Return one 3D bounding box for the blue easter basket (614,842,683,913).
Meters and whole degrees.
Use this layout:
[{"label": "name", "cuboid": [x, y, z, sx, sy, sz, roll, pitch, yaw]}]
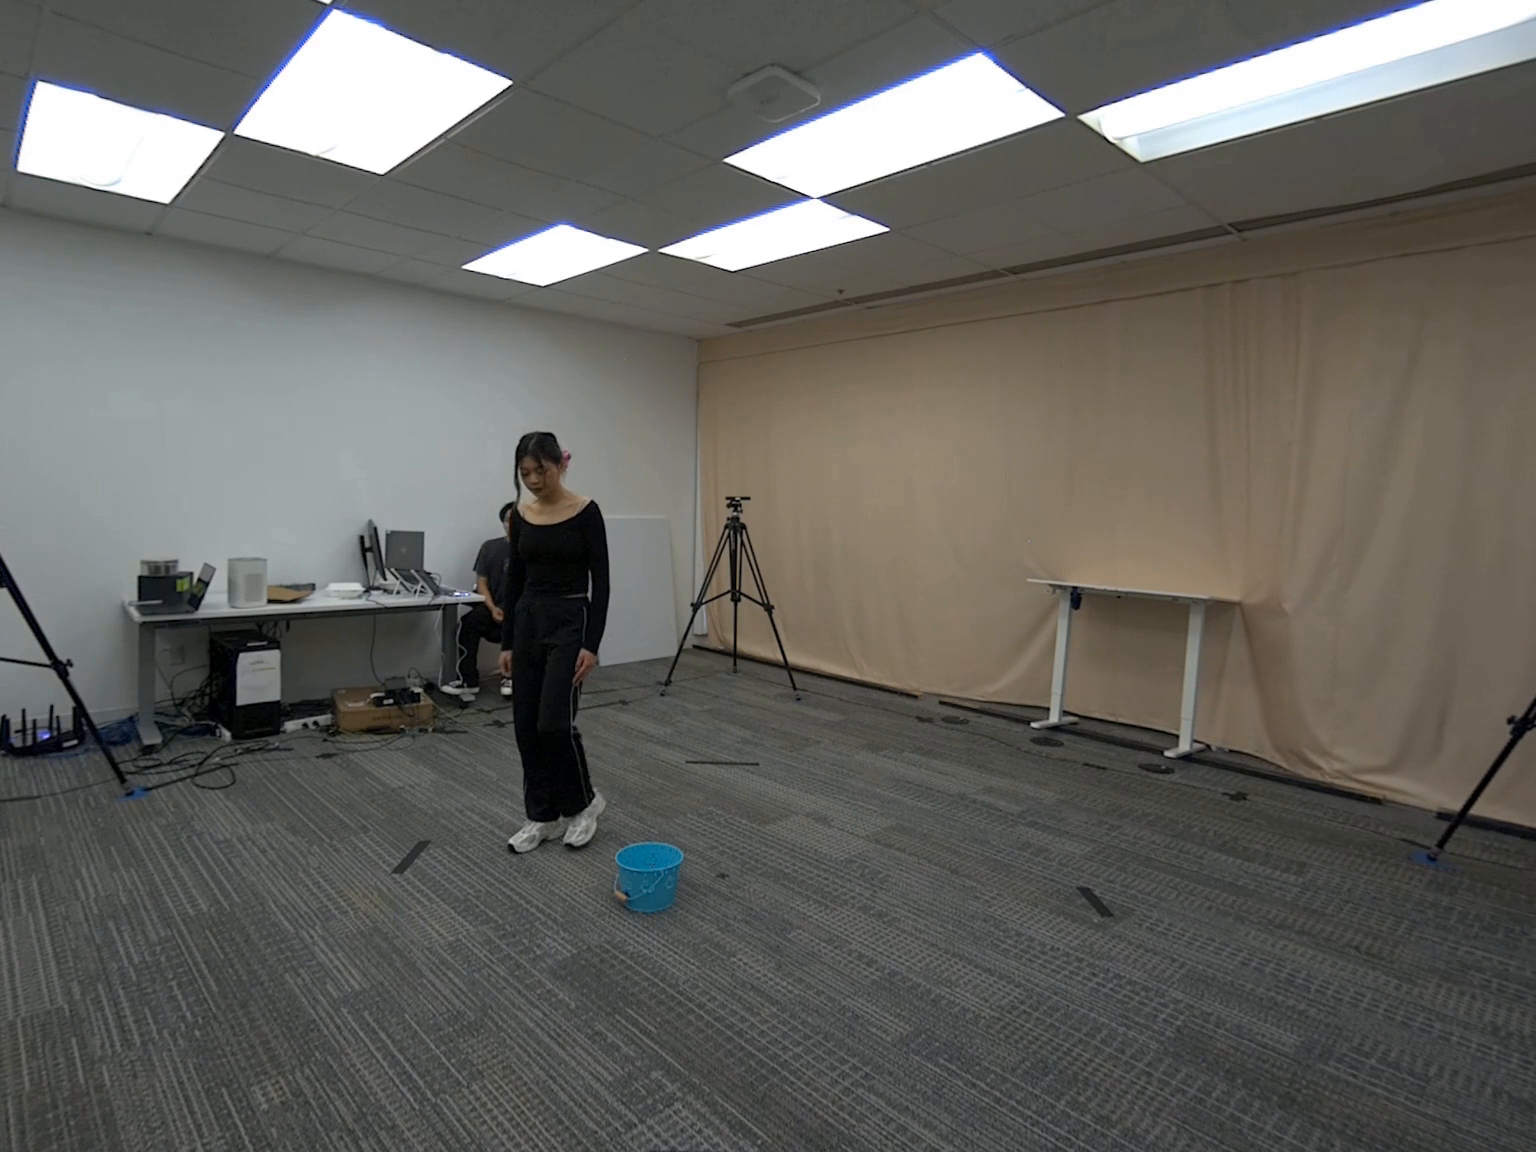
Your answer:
[{"label": "blue easter basket", "cuboid": [-0.424, 1.042, 2.906, 0.243, 0.155, 0.244, 1, 4, -1]}]
